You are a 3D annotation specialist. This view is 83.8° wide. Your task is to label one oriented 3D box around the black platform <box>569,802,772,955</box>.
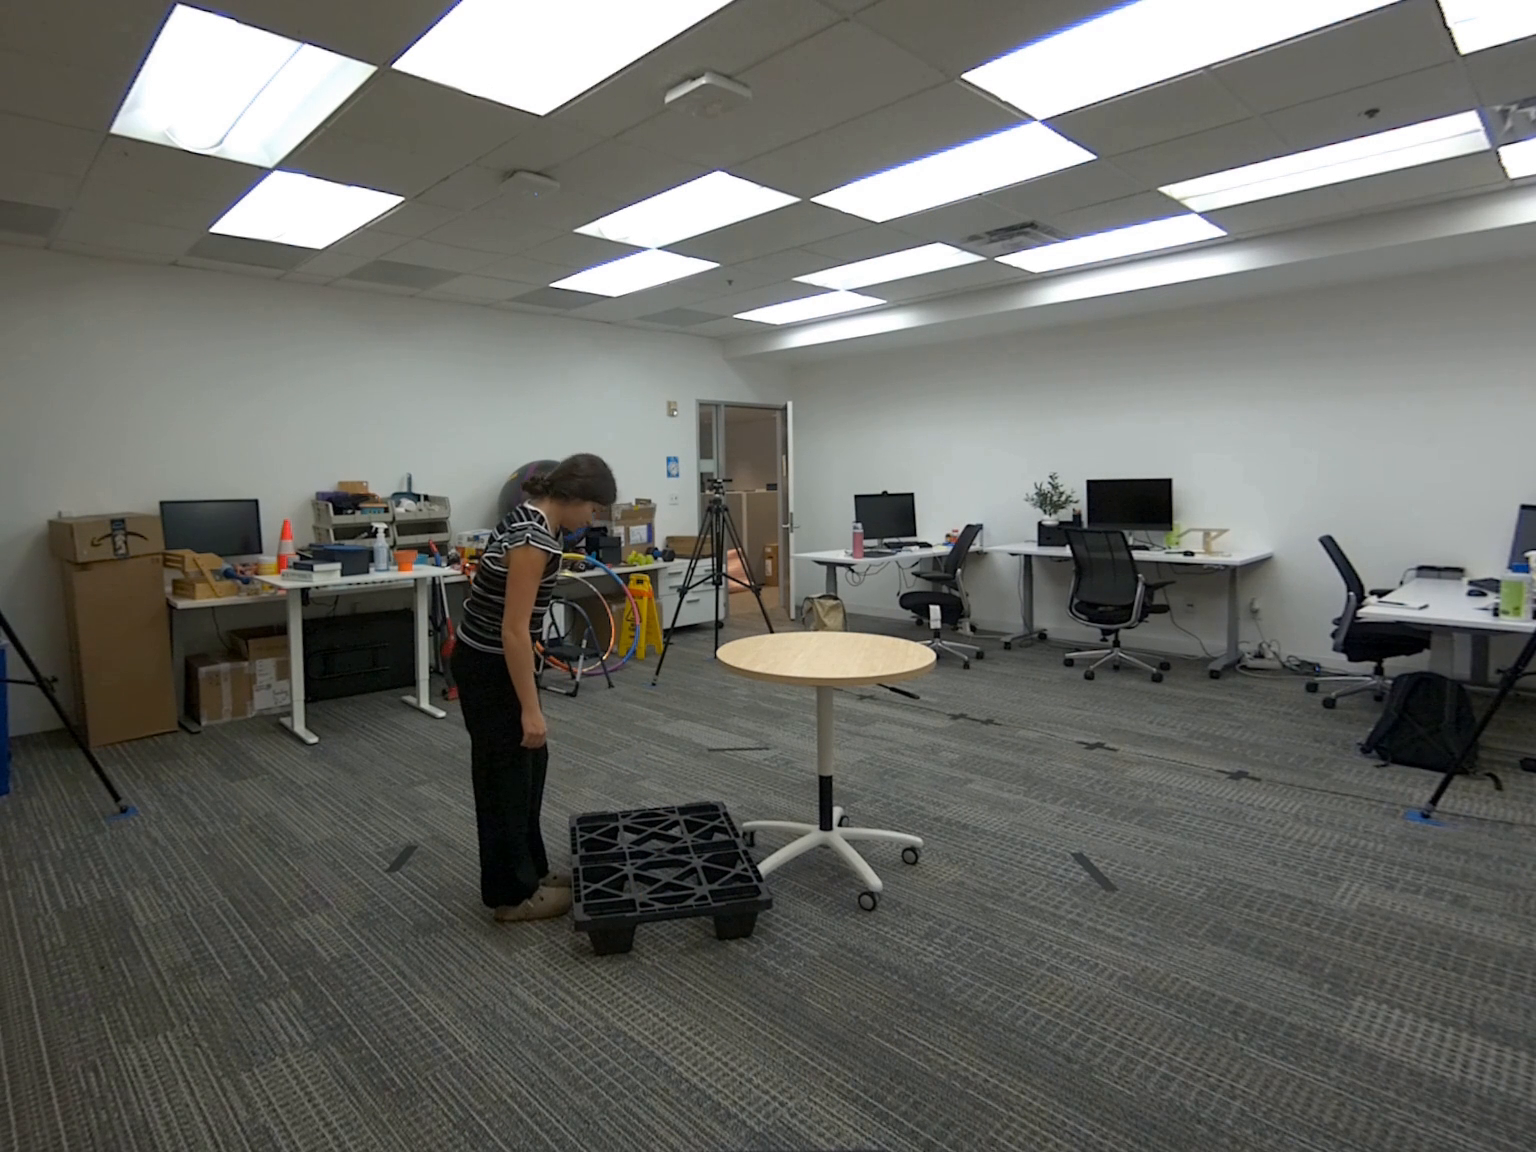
[{"bbox_3d":[-0.363,1.003,2.922,0.598,0.142,0.819,-2,7,-13],"label":"black platform"}]
